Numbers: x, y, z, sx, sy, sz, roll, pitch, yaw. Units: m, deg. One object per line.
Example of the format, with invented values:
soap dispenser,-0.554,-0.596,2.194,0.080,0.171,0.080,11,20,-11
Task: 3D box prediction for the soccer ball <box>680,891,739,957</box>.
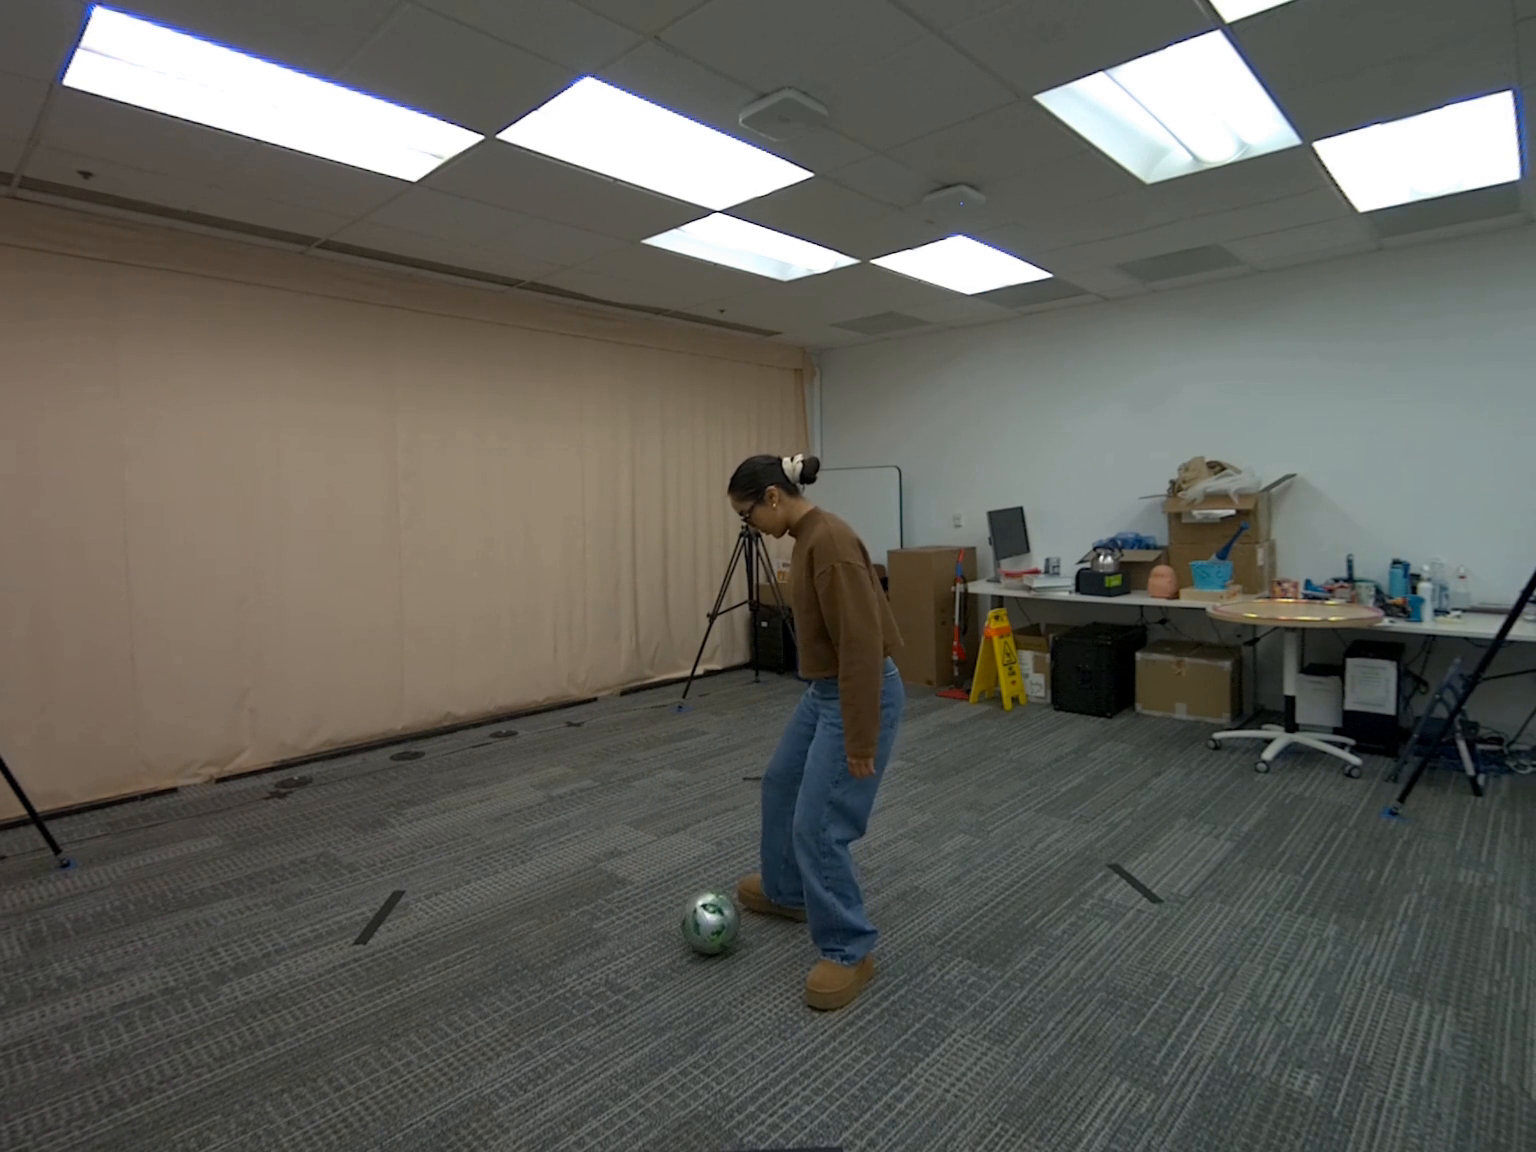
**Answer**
soccer ball,-0.178,1.078,2.627,0.187,0.187,0.188,-1,4,-2
